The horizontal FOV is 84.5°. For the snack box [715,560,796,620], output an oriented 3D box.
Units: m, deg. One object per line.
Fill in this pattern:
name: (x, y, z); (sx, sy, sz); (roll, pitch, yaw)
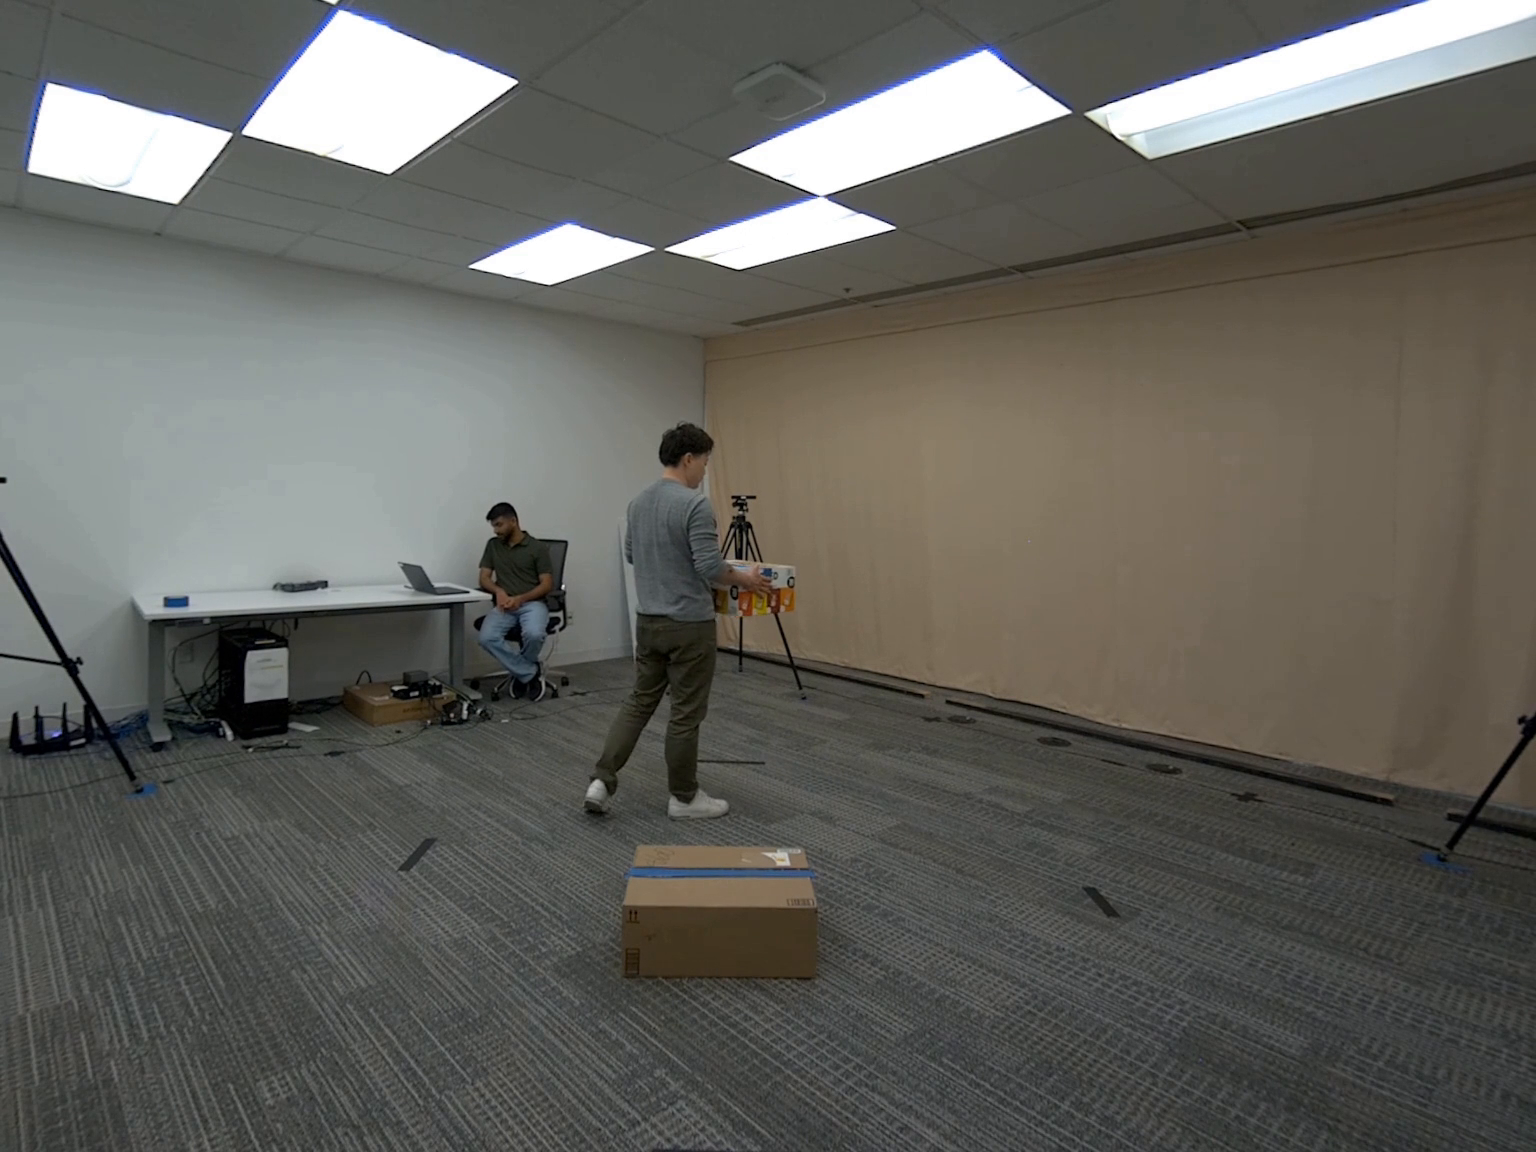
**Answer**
snack box: (-0.145, 0.054, 3.845); (0.333, 0.205, 0.416); (-3, 7, -42)
